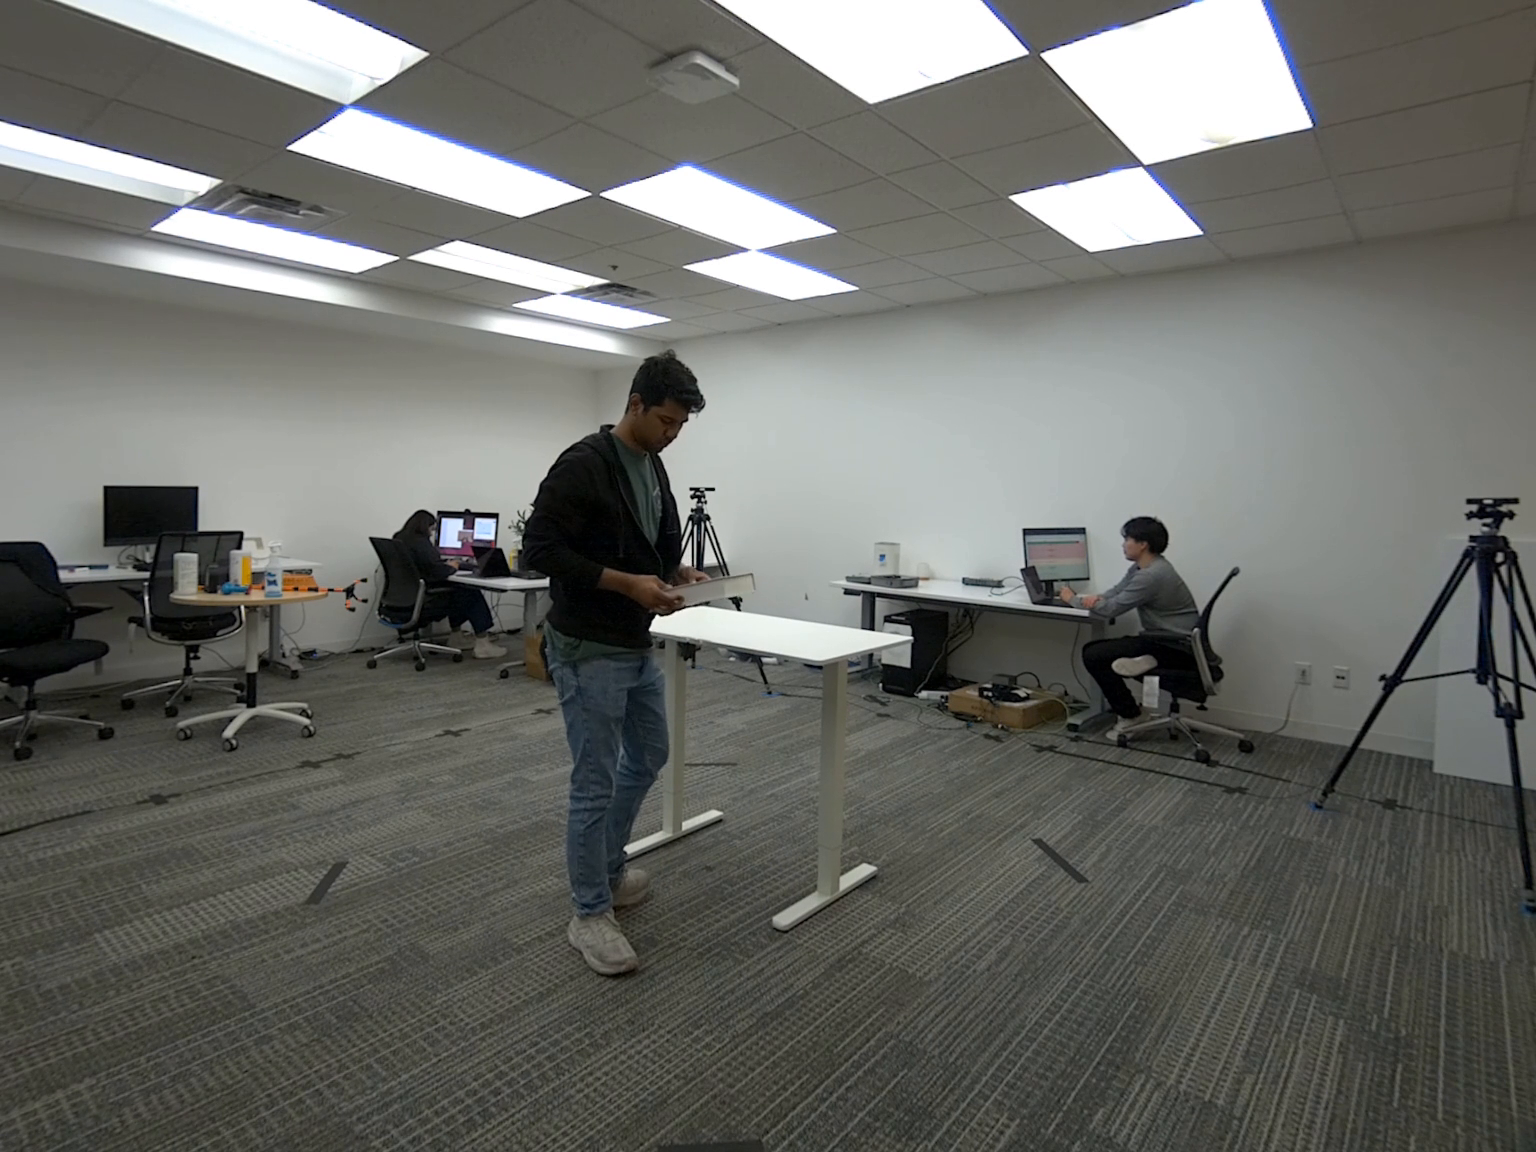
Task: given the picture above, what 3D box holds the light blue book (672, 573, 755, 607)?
[{"bbox_3d":[-0.203,0.059,2.466,0.266,0.059,0.187,-11,0,29],"label":"light blue book"}]
